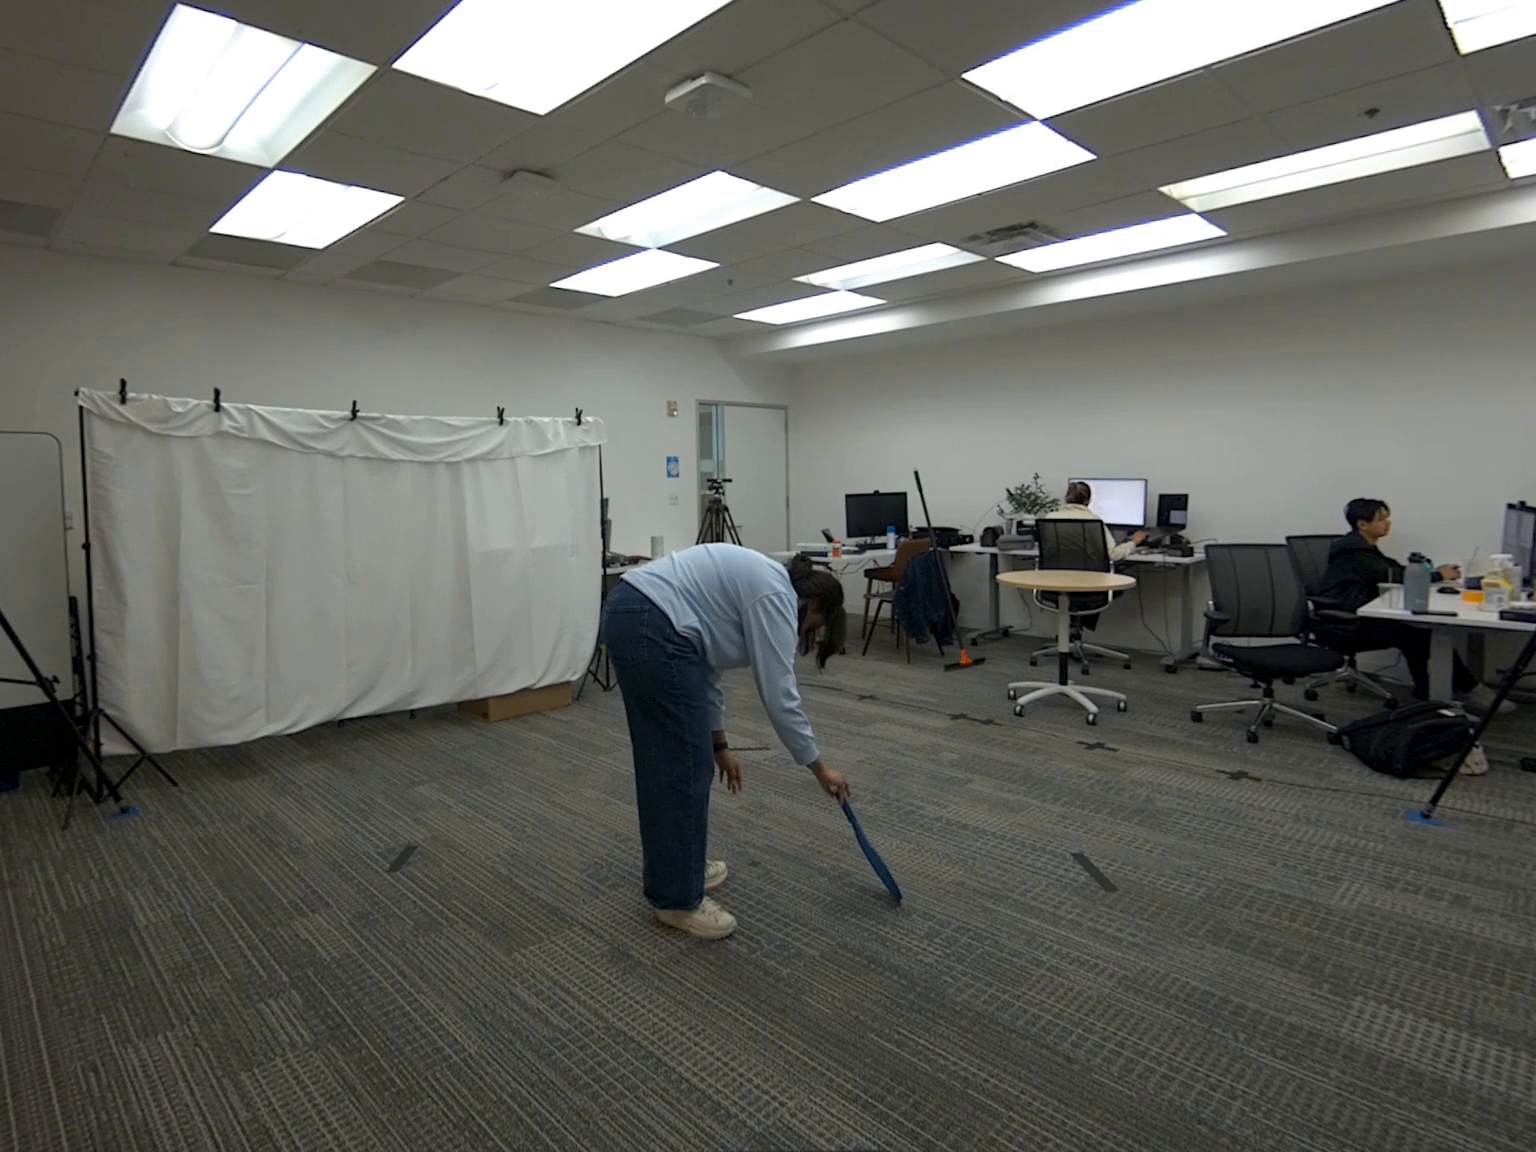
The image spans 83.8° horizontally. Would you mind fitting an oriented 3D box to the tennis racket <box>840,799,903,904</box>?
[{"bbox_3d":[0.325,0.875,2.824,0.031,0.434,0.214,-28,-1,-13],"label":"tennis racket"}]
